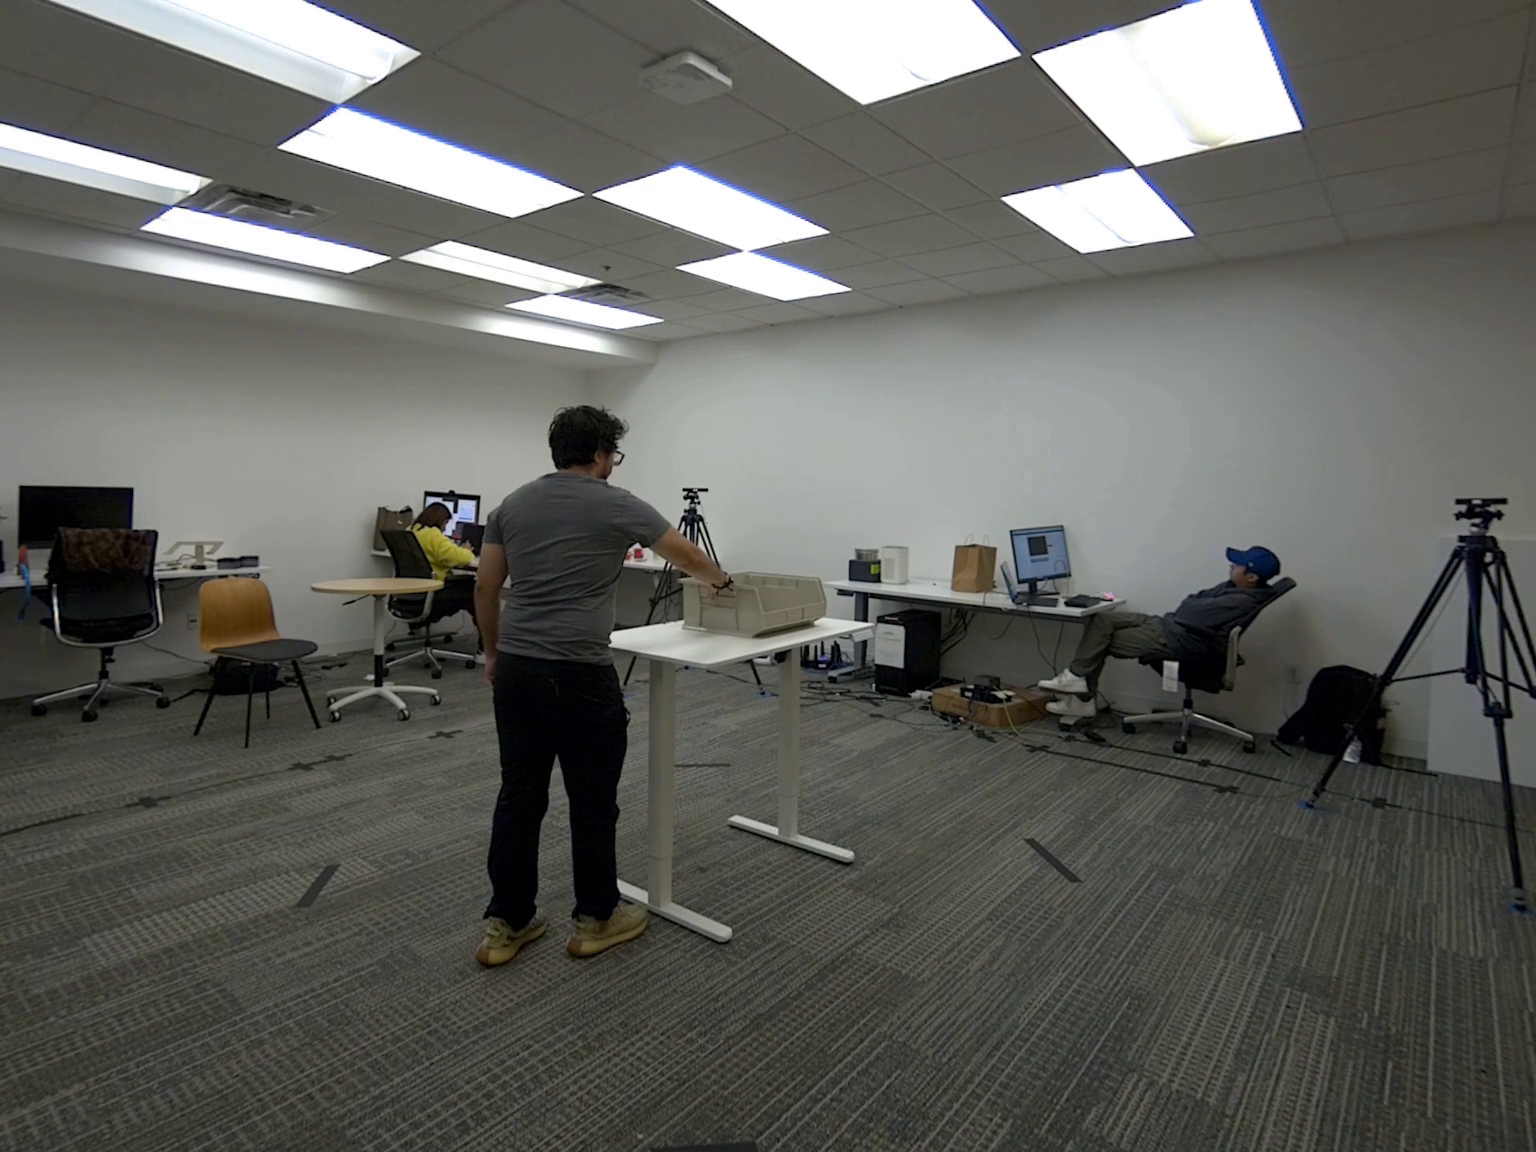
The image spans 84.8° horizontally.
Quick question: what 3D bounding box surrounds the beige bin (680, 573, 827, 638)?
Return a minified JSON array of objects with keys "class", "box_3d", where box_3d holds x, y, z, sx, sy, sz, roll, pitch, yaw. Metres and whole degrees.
[{"class":"beige bin","box_3d":[-0.058,0.097,3.132,0.389,0.188,0.410,3,6,37]}]
